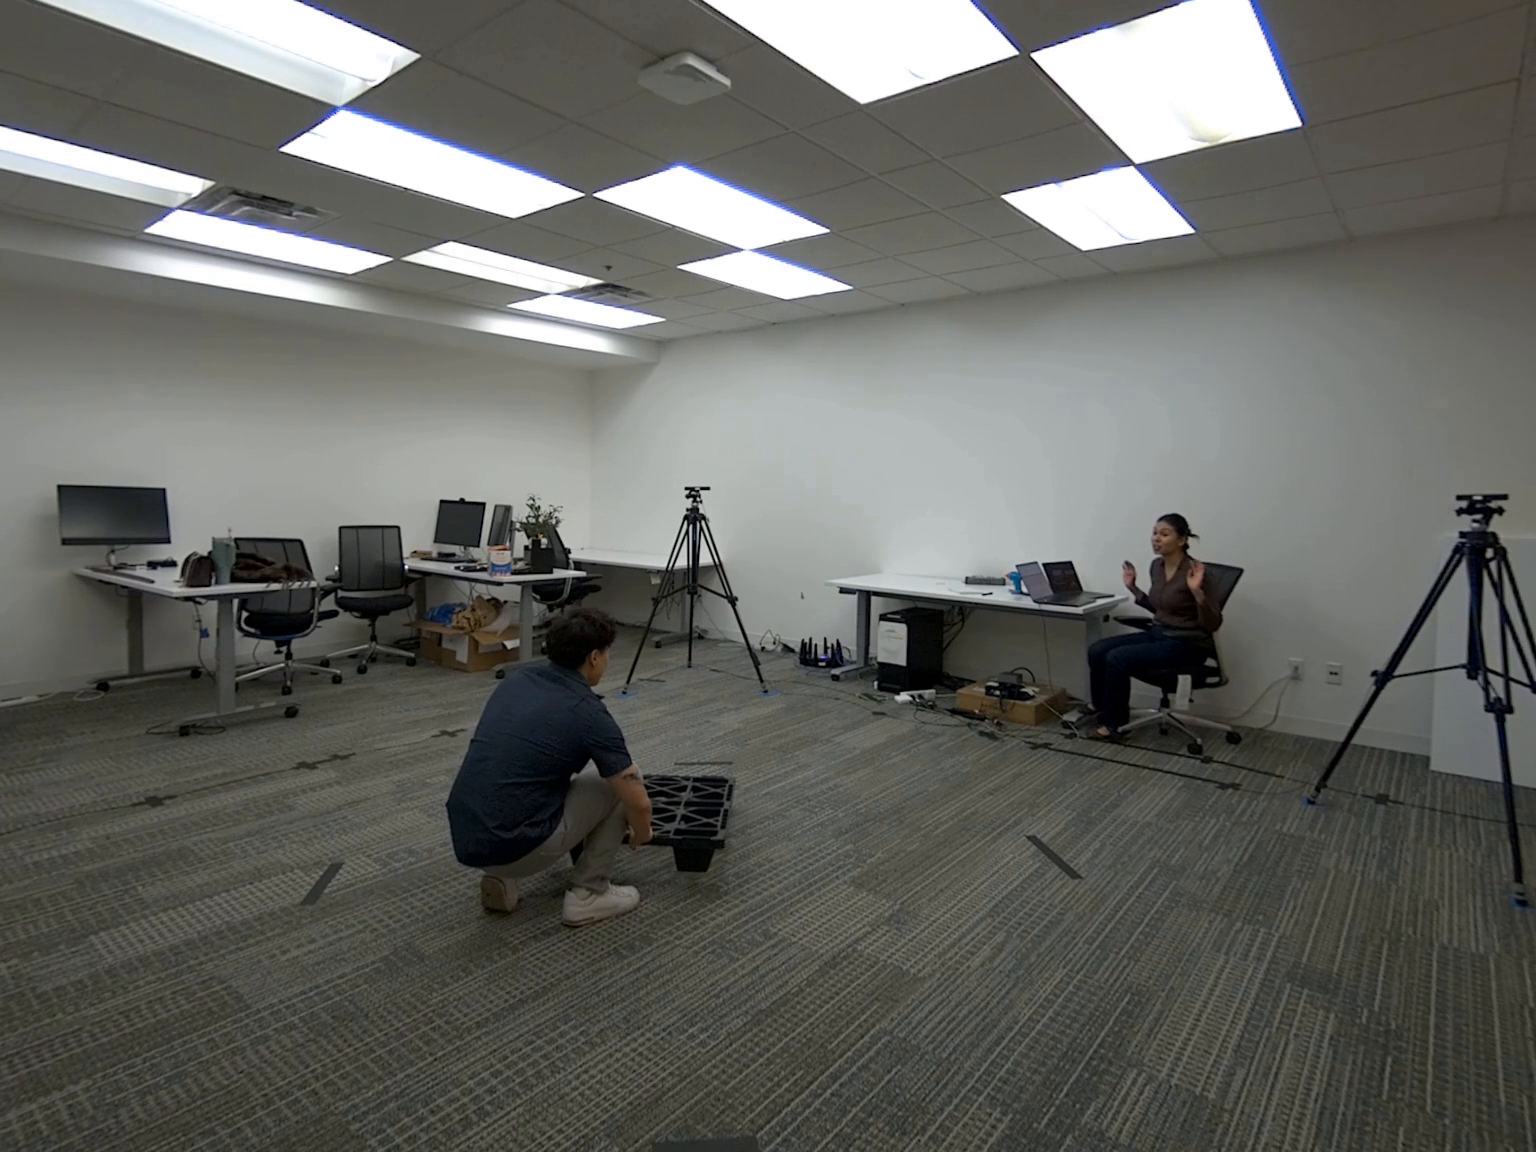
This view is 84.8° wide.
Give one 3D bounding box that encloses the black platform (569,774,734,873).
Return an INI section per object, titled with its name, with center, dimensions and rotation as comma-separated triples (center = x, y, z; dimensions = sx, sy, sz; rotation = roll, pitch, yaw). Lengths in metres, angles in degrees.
[black platform]
center = -0.454, 0.951, 3.342
dimensions = 0.607, 0.143, 0.803
rotation = 1, 2, 2
